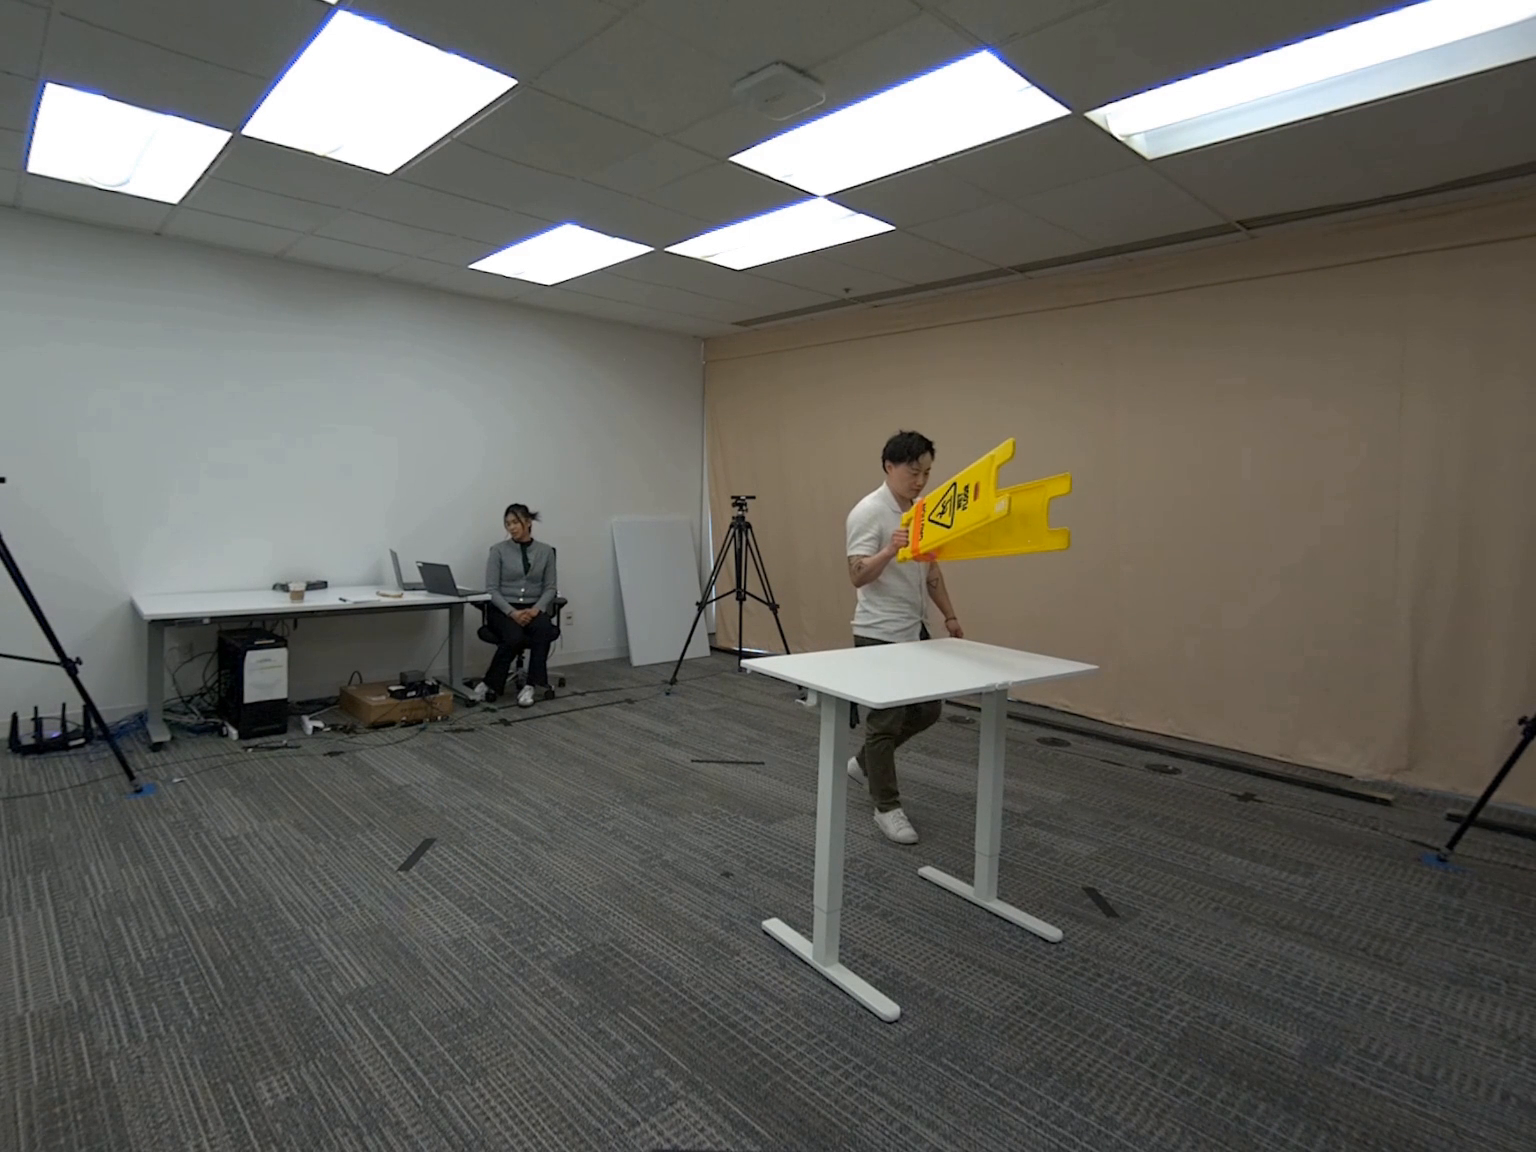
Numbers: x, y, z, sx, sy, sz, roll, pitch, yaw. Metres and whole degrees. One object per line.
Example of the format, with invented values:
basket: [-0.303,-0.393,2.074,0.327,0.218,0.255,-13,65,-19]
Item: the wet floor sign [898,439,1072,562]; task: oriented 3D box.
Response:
wet floor sign: [0.675,-0.202,2.949,0.282,0.285,0.655,24,-25,-29]
